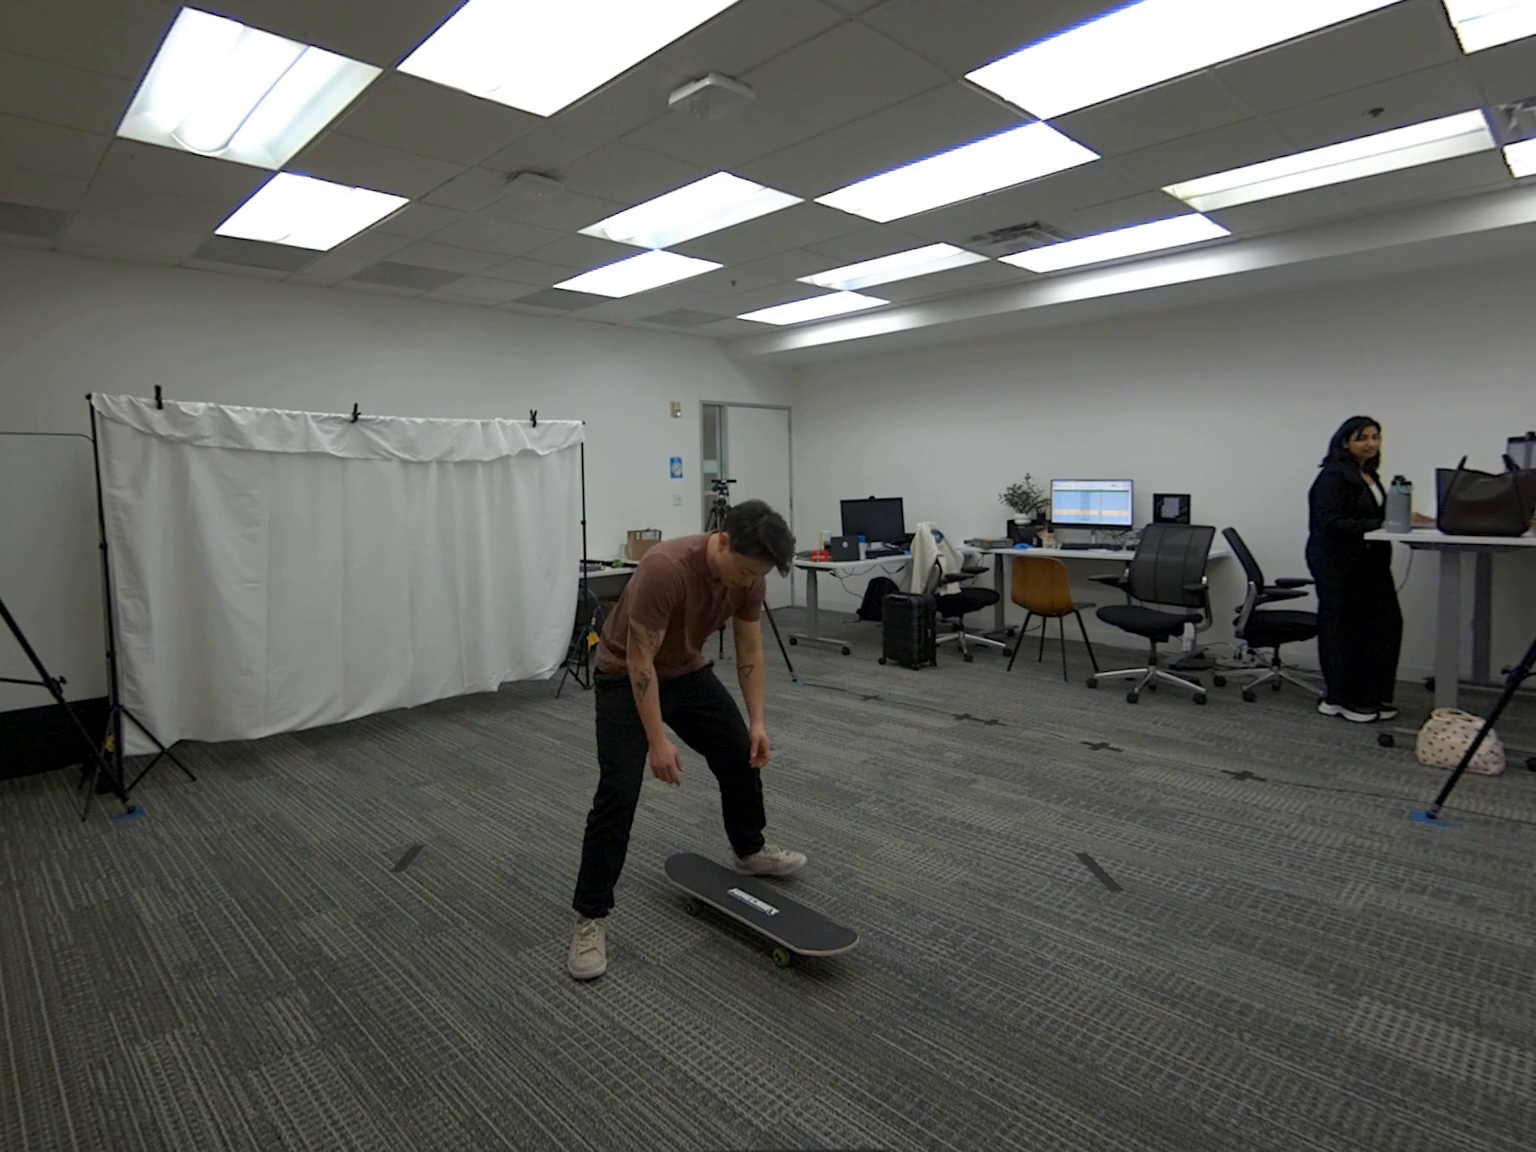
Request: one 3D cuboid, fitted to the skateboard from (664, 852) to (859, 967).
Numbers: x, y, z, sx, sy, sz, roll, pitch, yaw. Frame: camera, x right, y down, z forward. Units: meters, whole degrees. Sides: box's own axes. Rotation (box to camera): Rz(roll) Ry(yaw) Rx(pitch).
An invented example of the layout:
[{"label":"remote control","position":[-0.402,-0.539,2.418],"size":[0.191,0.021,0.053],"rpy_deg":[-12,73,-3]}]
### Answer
[{"label":"skateboard","position":[-0.044,1.050,2.651],"size":[0.188,0.110,0.810],"rpy_deg":[-6,8,-43]}]
